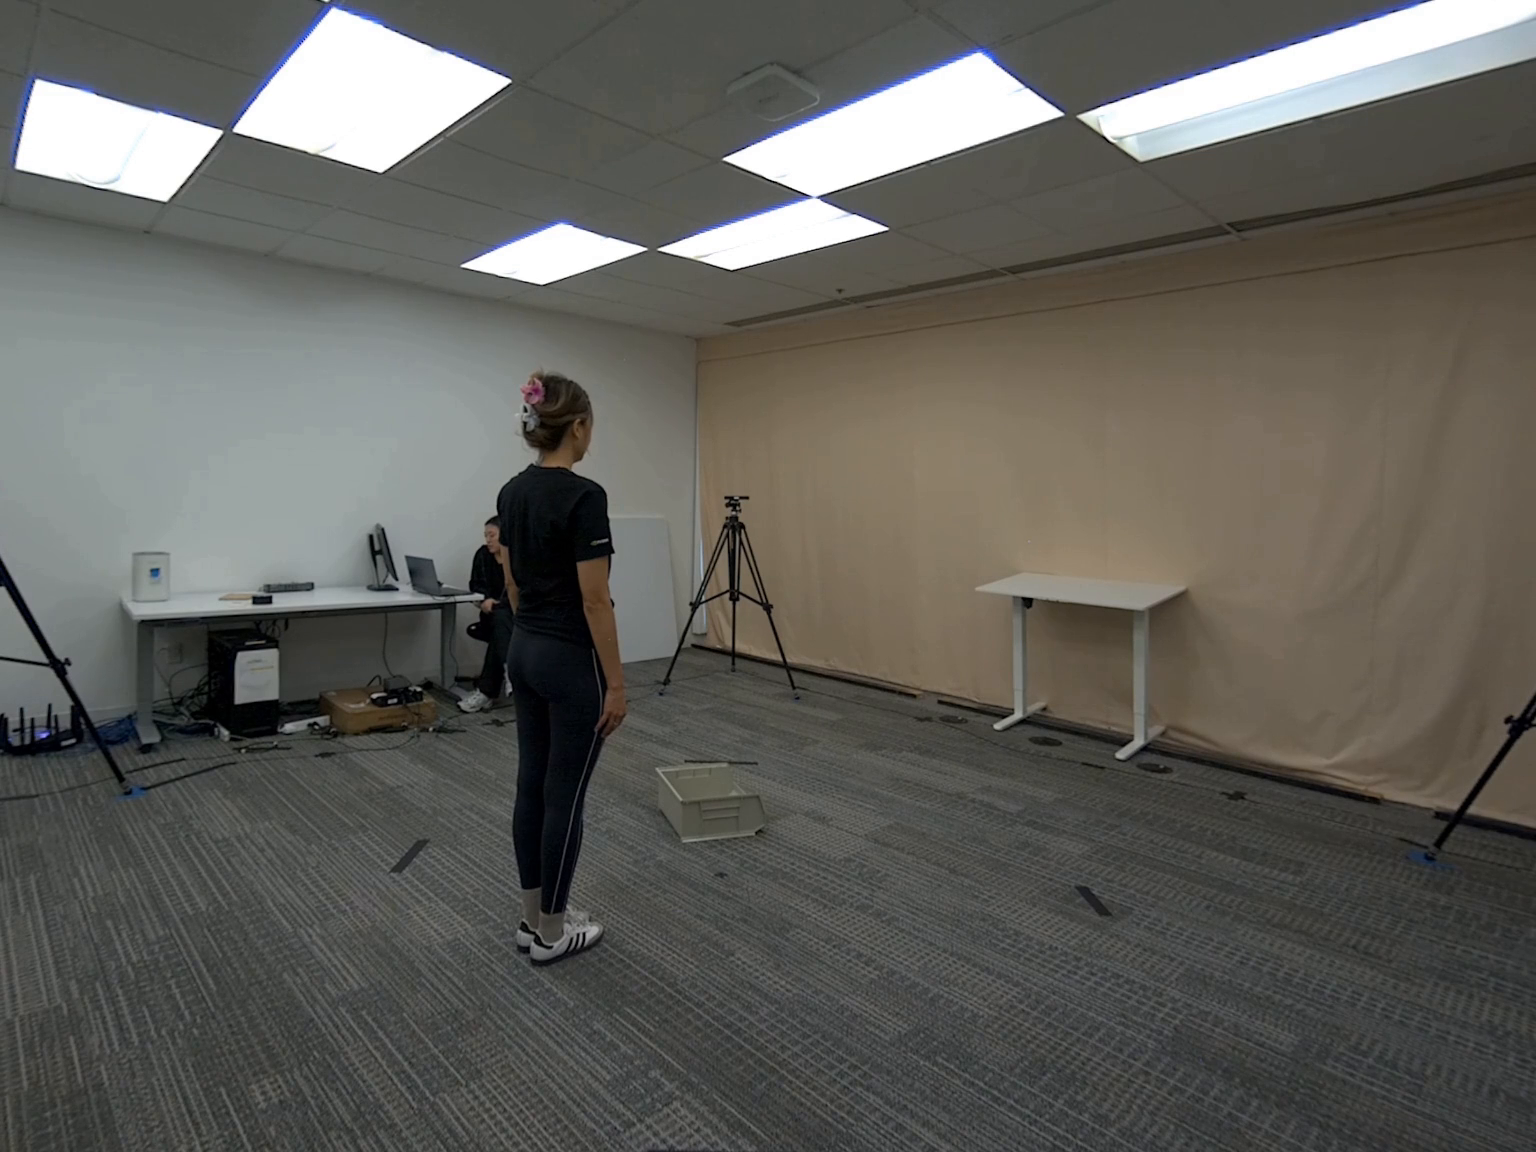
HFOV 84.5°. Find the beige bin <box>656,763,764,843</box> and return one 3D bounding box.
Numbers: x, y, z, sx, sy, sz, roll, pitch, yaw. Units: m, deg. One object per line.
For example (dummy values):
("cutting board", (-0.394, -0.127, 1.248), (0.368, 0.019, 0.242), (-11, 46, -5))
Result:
("beige bin", (-0.263, 0.966, 3.626), (0.371, 0.188, 0.430), (-1, 6, -21))
